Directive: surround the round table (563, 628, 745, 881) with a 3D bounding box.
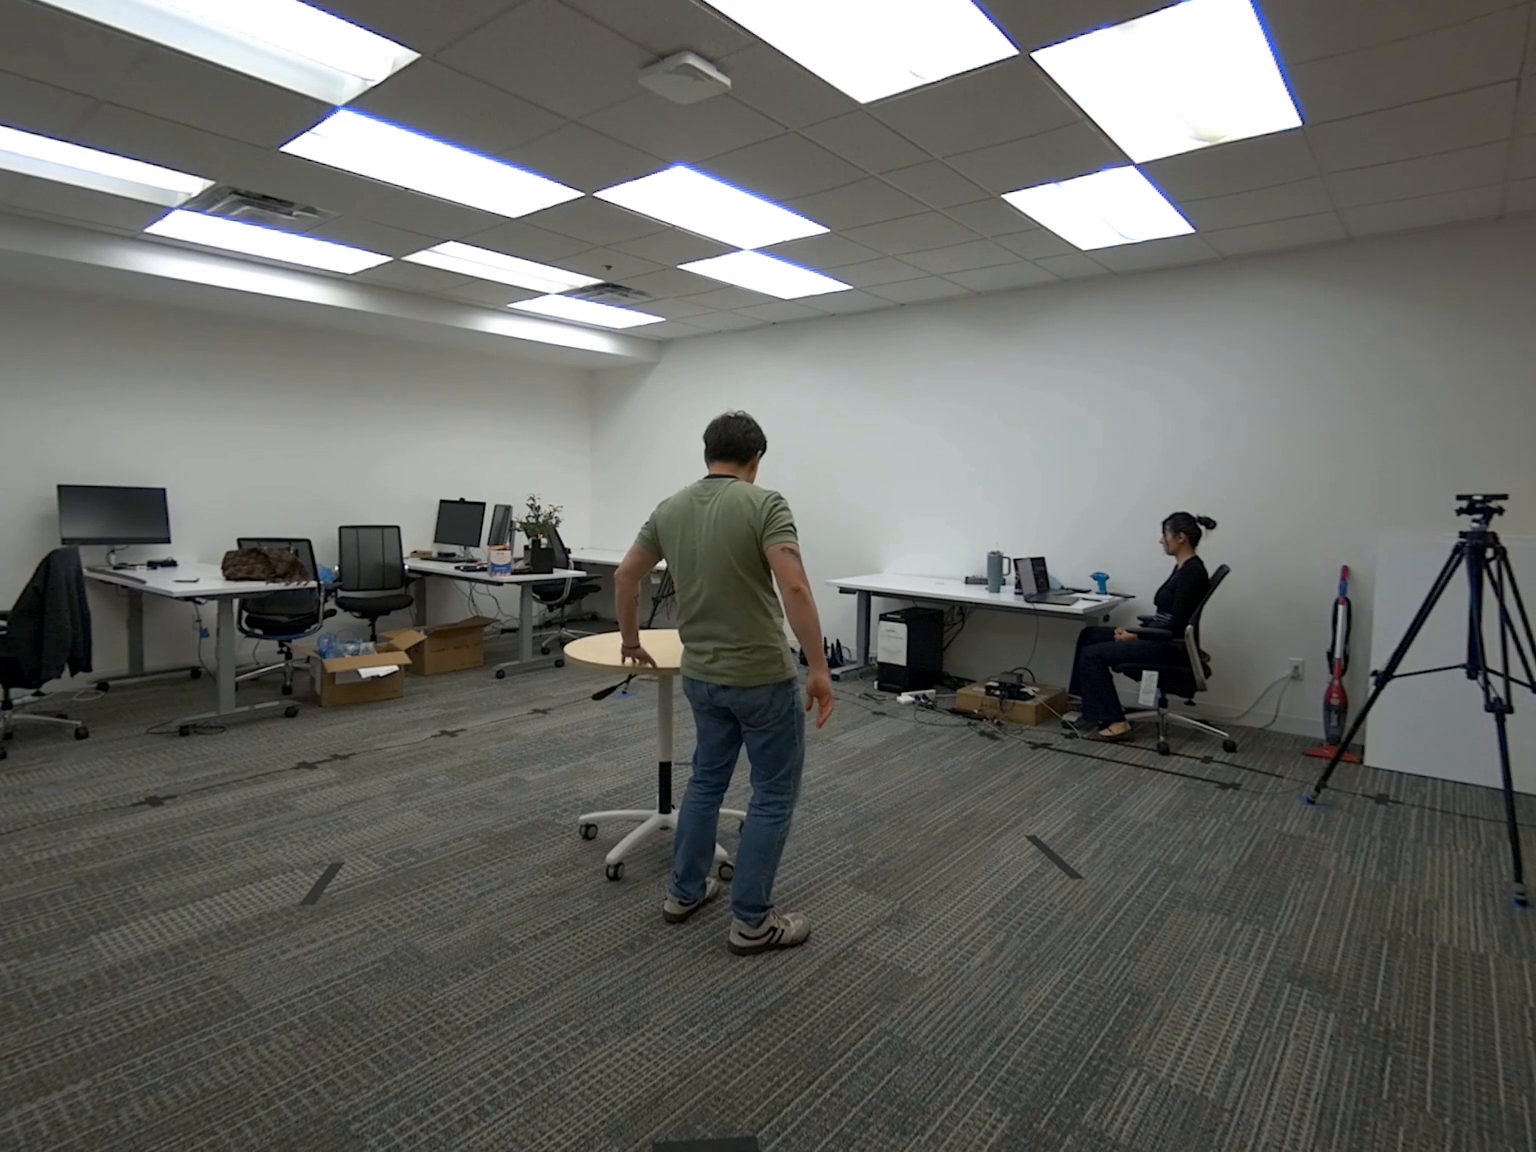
[{"bbox_3d":[-0.402,0.659,3.253,0.763,0.791,0.768,0,4,-2],"label":"round table"}]
